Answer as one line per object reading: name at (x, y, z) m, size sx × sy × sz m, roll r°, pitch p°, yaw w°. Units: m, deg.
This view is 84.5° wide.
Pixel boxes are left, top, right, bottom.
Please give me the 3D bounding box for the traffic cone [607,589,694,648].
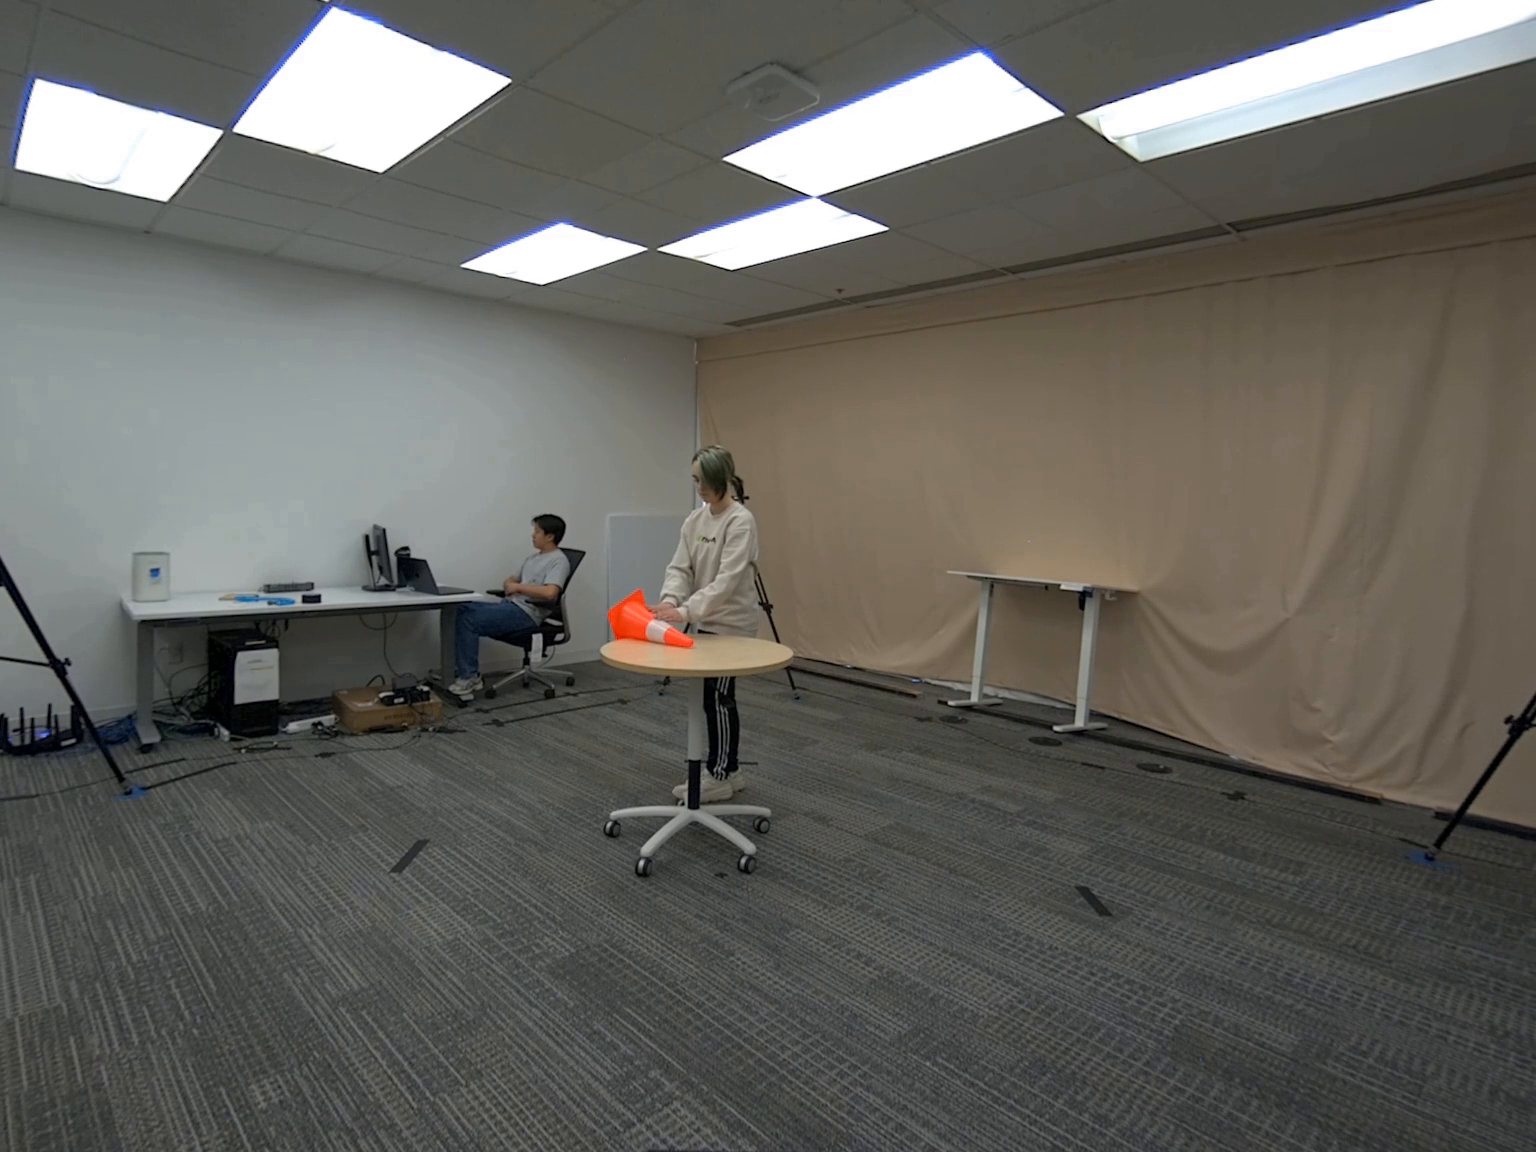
traffic cone at (-0.472, 0.230, 3.498) m, size 0.395 × 0.200 × 0.202 m, roll 17°, pitch 41°, yaw 38°
